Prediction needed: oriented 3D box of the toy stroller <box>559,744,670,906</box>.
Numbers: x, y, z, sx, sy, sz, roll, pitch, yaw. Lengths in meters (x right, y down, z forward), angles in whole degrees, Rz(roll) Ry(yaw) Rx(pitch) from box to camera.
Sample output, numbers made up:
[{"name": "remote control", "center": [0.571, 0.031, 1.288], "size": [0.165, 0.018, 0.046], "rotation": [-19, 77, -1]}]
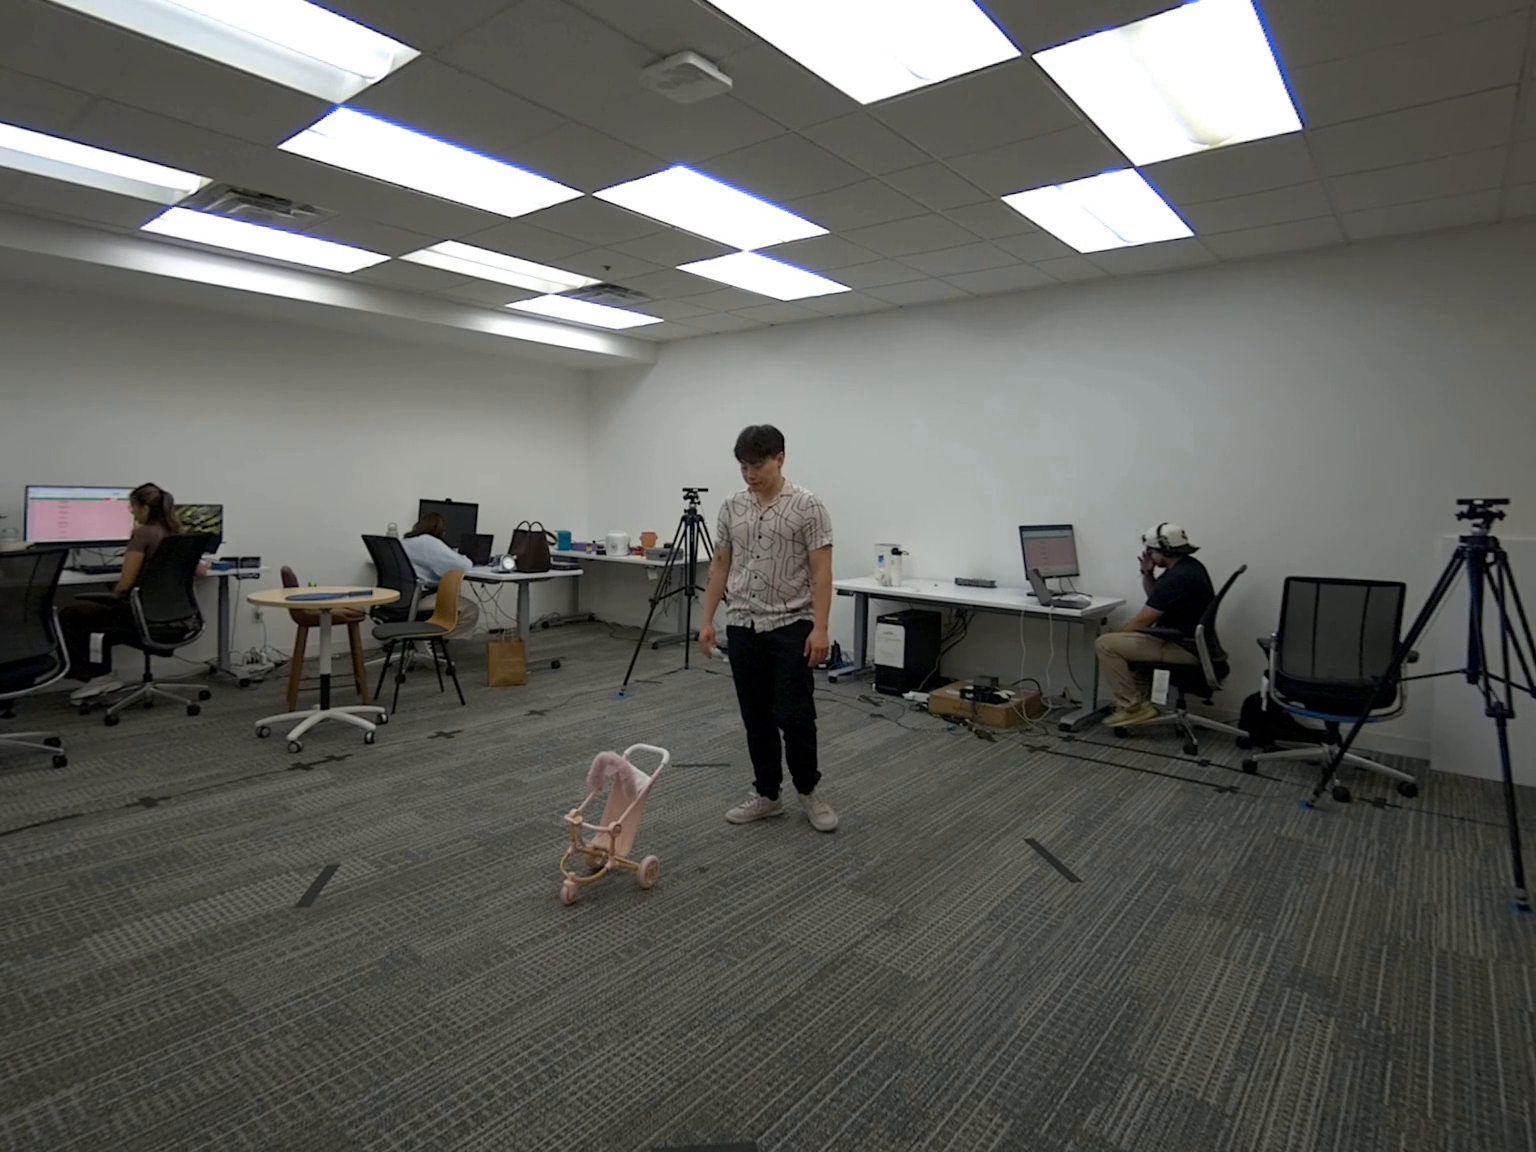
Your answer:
[{"name": "toy stroller", "center": [-0.564, 0.852, 2.971], "size": [0.291, 0.539, 0.328], "rotation": [2, -12, 39]}]
